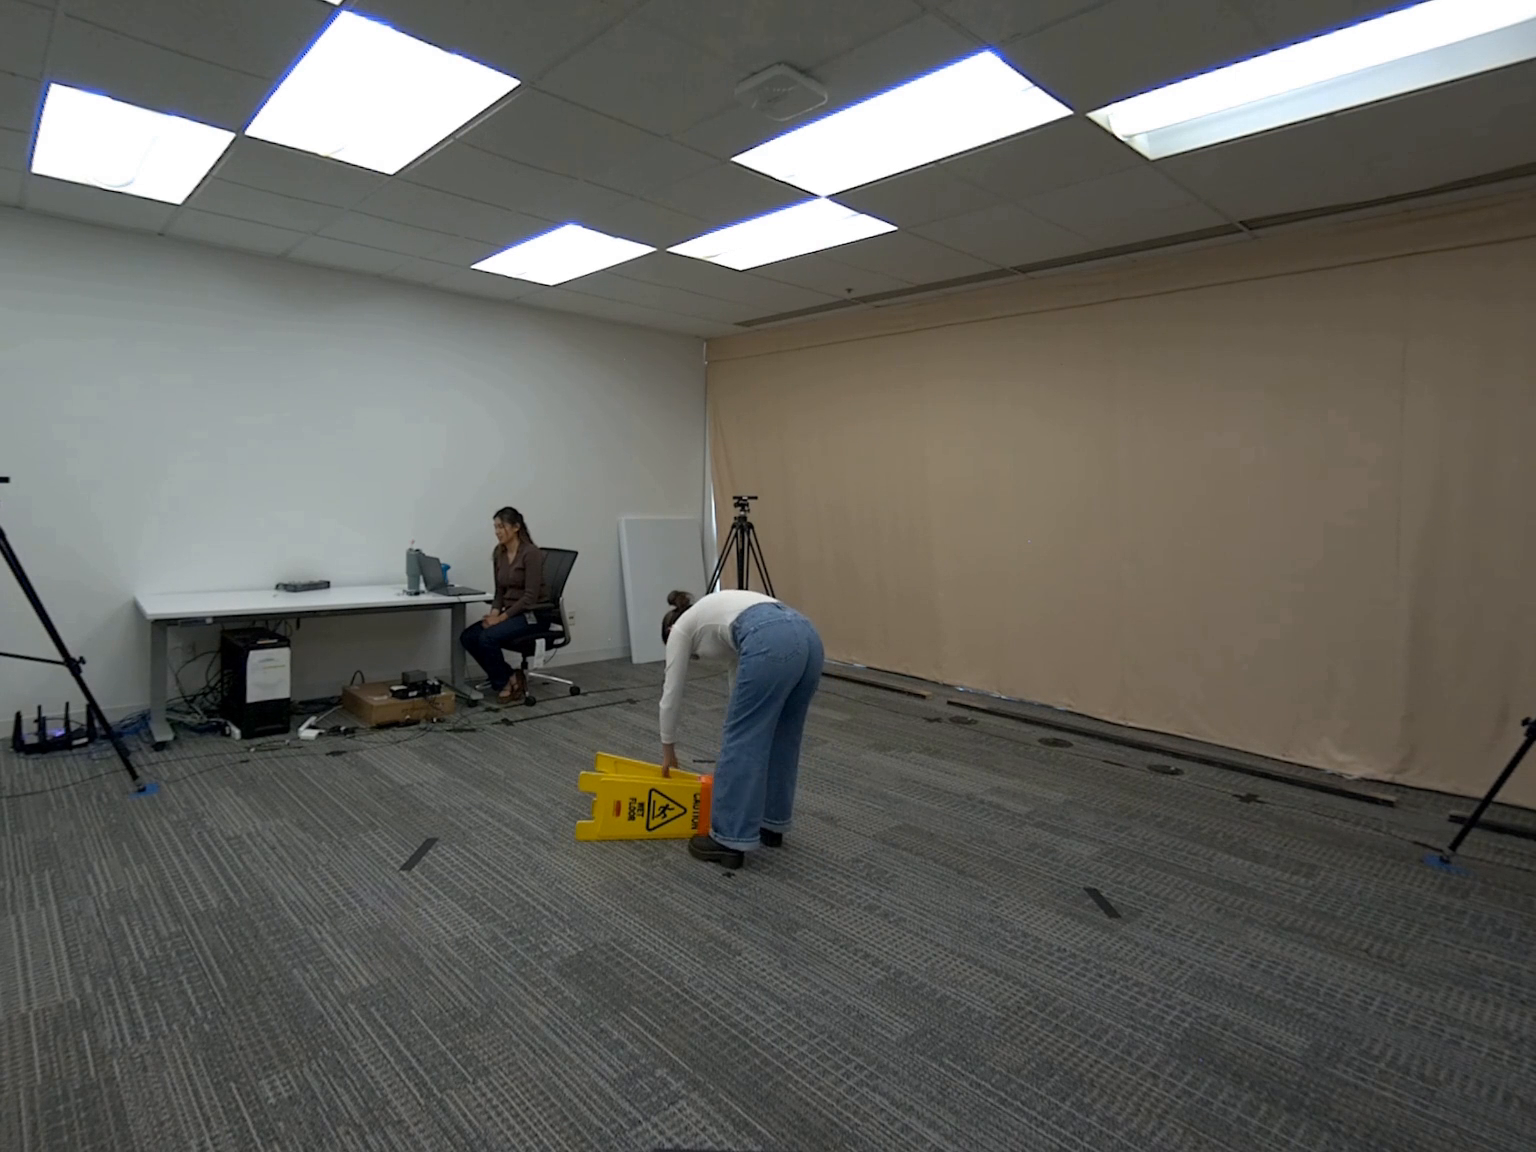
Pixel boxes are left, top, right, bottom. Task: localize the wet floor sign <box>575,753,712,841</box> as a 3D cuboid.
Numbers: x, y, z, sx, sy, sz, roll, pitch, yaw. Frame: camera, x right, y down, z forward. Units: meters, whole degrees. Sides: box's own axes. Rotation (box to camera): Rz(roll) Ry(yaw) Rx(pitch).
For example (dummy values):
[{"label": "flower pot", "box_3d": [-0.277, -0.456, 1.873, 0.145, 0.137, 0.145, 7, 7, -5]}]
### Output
[{"label": "wet floor sign", "box_3d": [-0.446, 0.929, 3.489, 0.648, 0.282, 0.289, 5, 4, 4]}]
